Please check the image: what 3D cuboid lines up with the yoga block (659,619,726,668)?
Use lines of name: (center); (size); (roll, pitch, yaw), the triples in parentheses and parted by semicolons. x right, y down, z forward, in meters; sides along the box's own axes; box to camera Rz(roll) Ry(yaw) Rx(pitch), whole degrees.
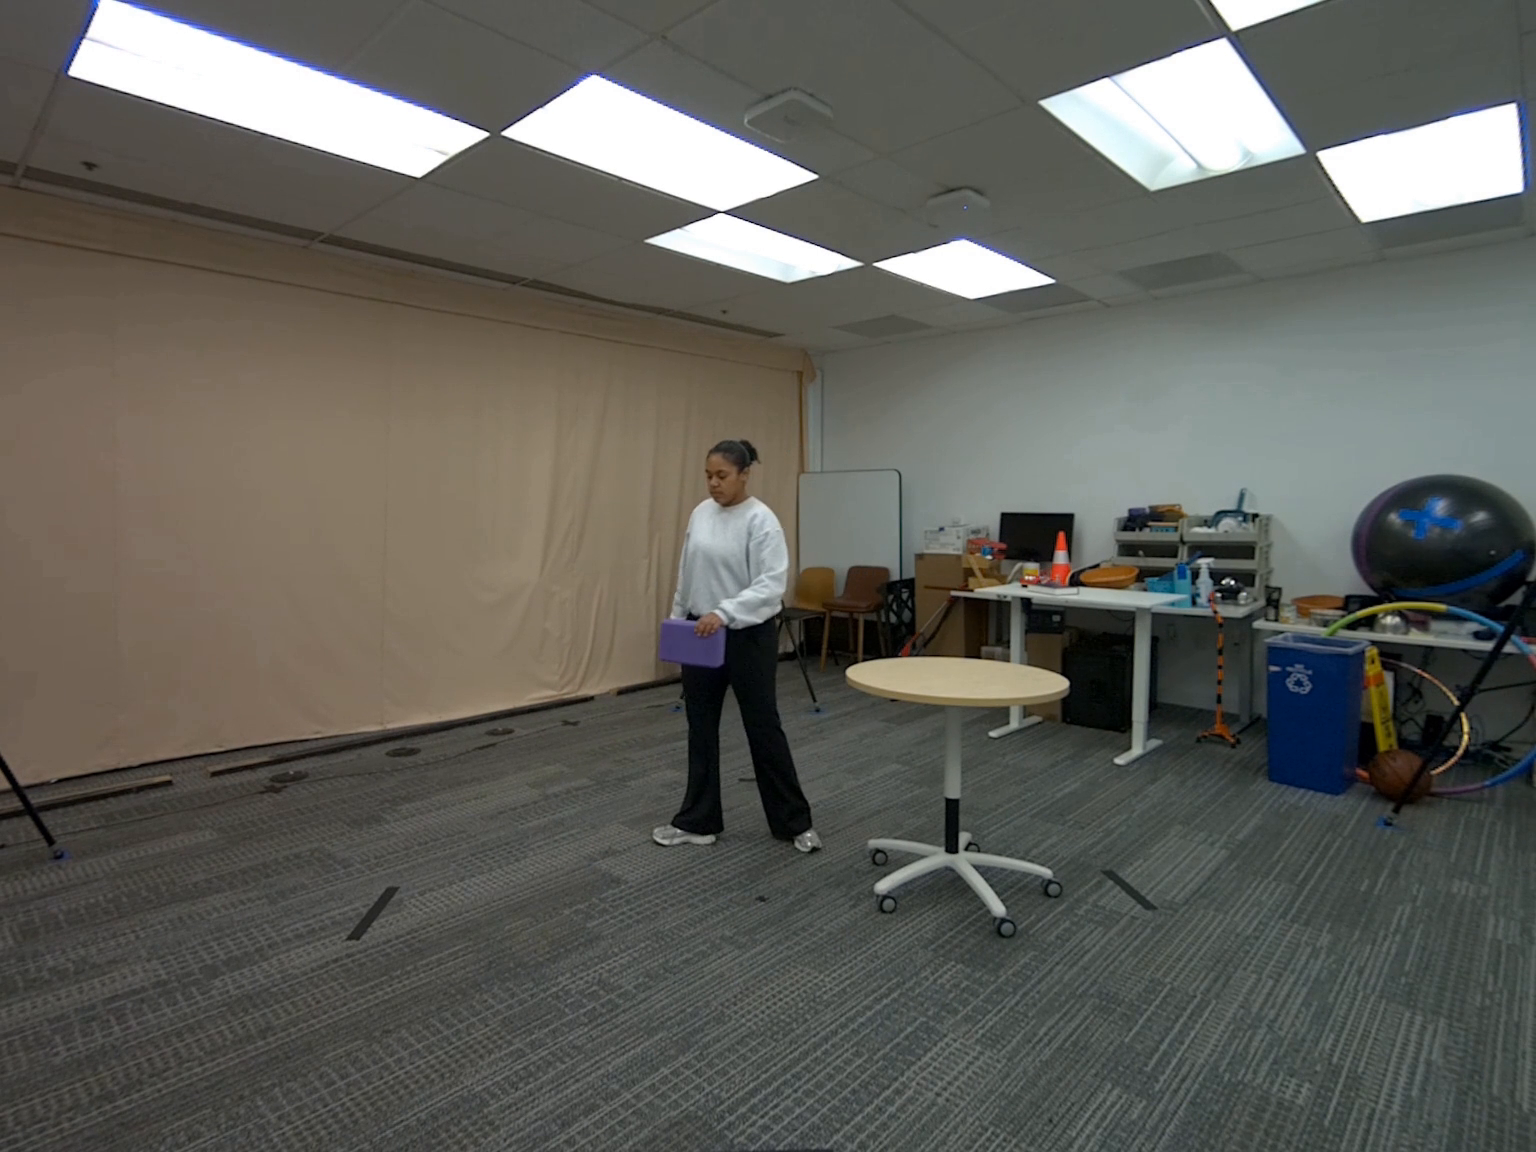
yoga block: (-0.271, 0.241, 3.052); (0.234, 0.149, 0.075); (6, 3, 17)
